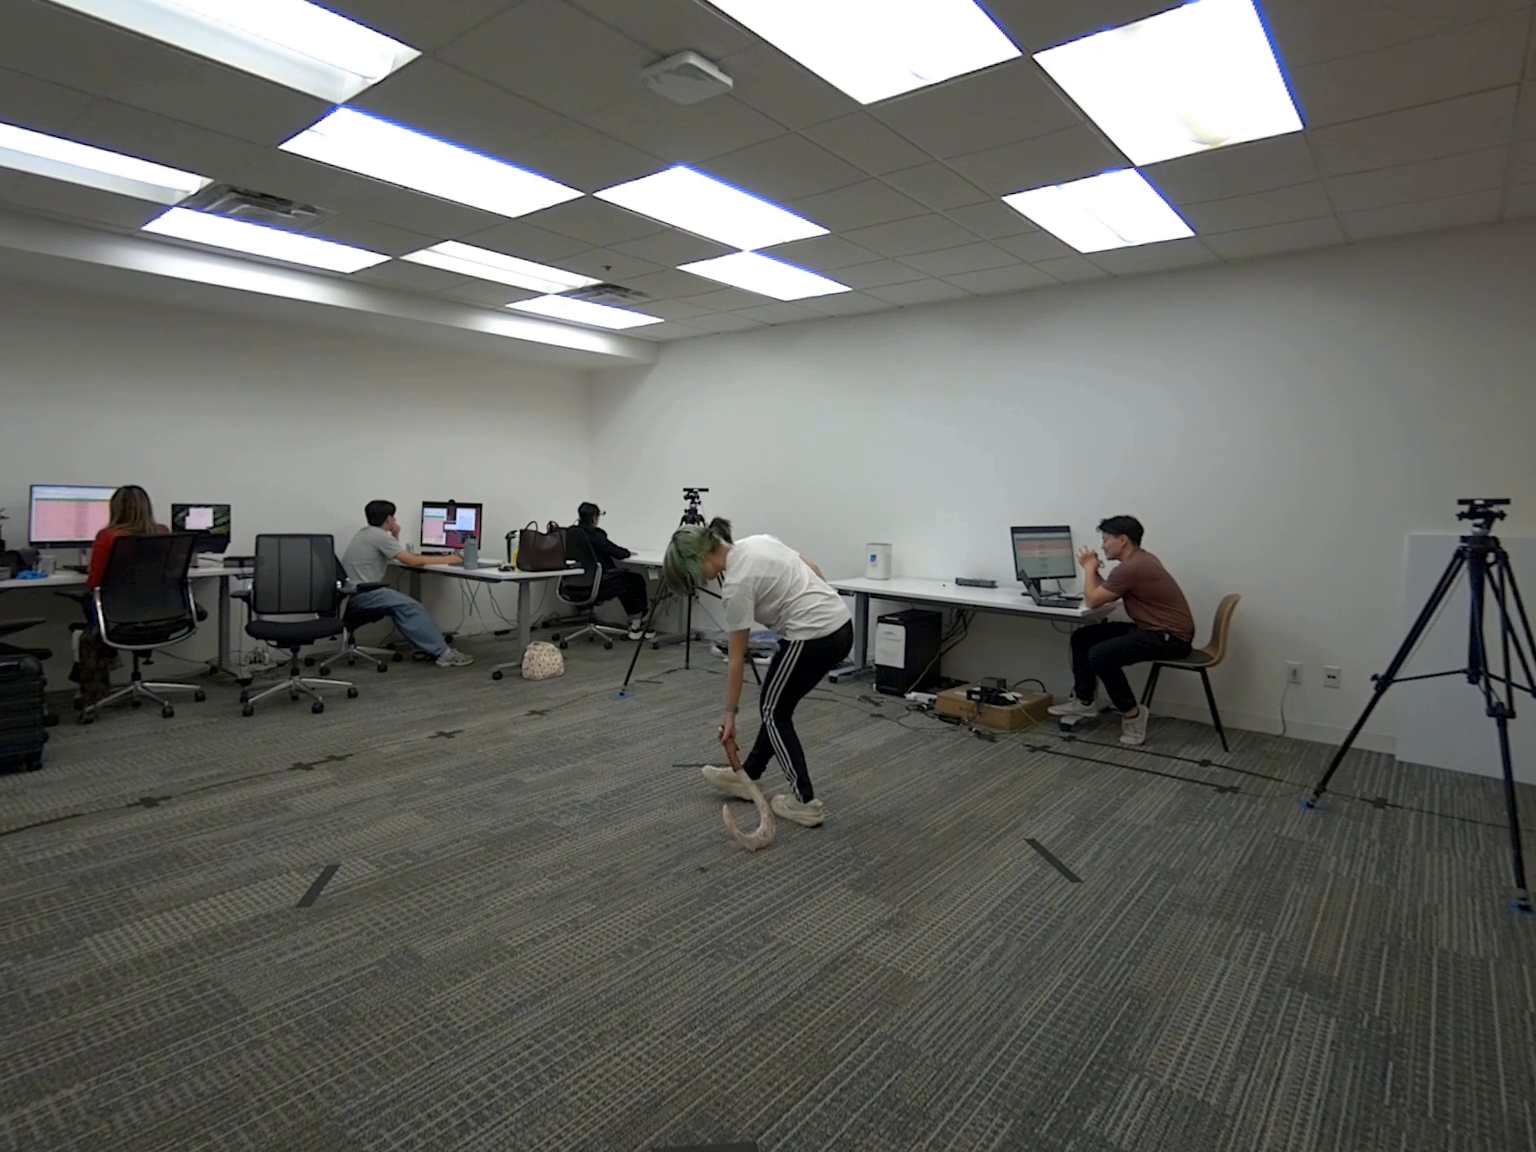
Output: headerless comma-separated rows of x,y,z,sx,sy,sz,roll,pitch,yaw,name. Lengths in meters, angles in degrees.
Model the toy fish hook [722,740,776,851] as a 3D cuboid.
-0.133,0.835,3.395,0.218,0.522,0.048,-4,-32,-42,toy fish hook
